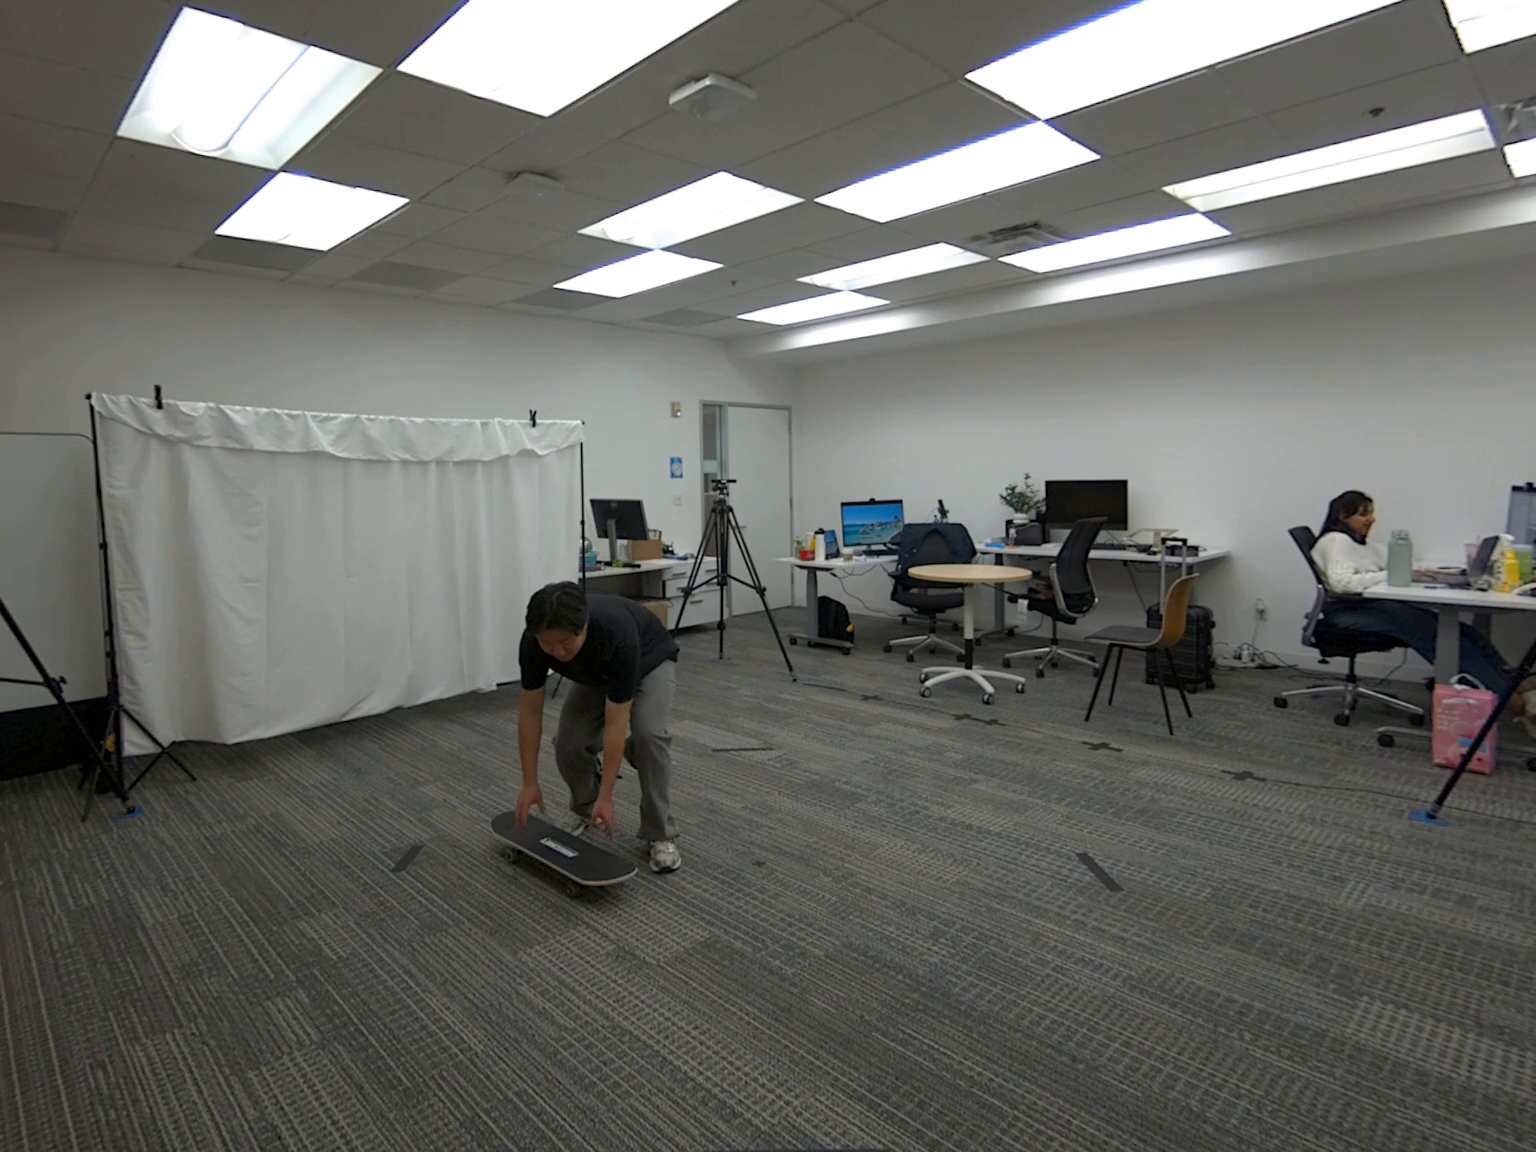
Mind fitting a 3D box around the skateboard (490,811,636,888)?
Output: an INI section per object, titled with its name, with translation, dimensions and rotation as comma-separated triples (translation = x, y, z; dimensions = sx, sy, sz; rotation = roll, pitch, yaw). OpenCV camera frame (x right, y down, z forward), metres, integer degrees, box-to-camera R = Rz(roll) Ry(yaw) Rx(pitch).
[skateboard]
translation = -0.748, 1.004, 3.080
dimensions = 0.188, 0.110, 0.810
rotation = -8, 9, -44
